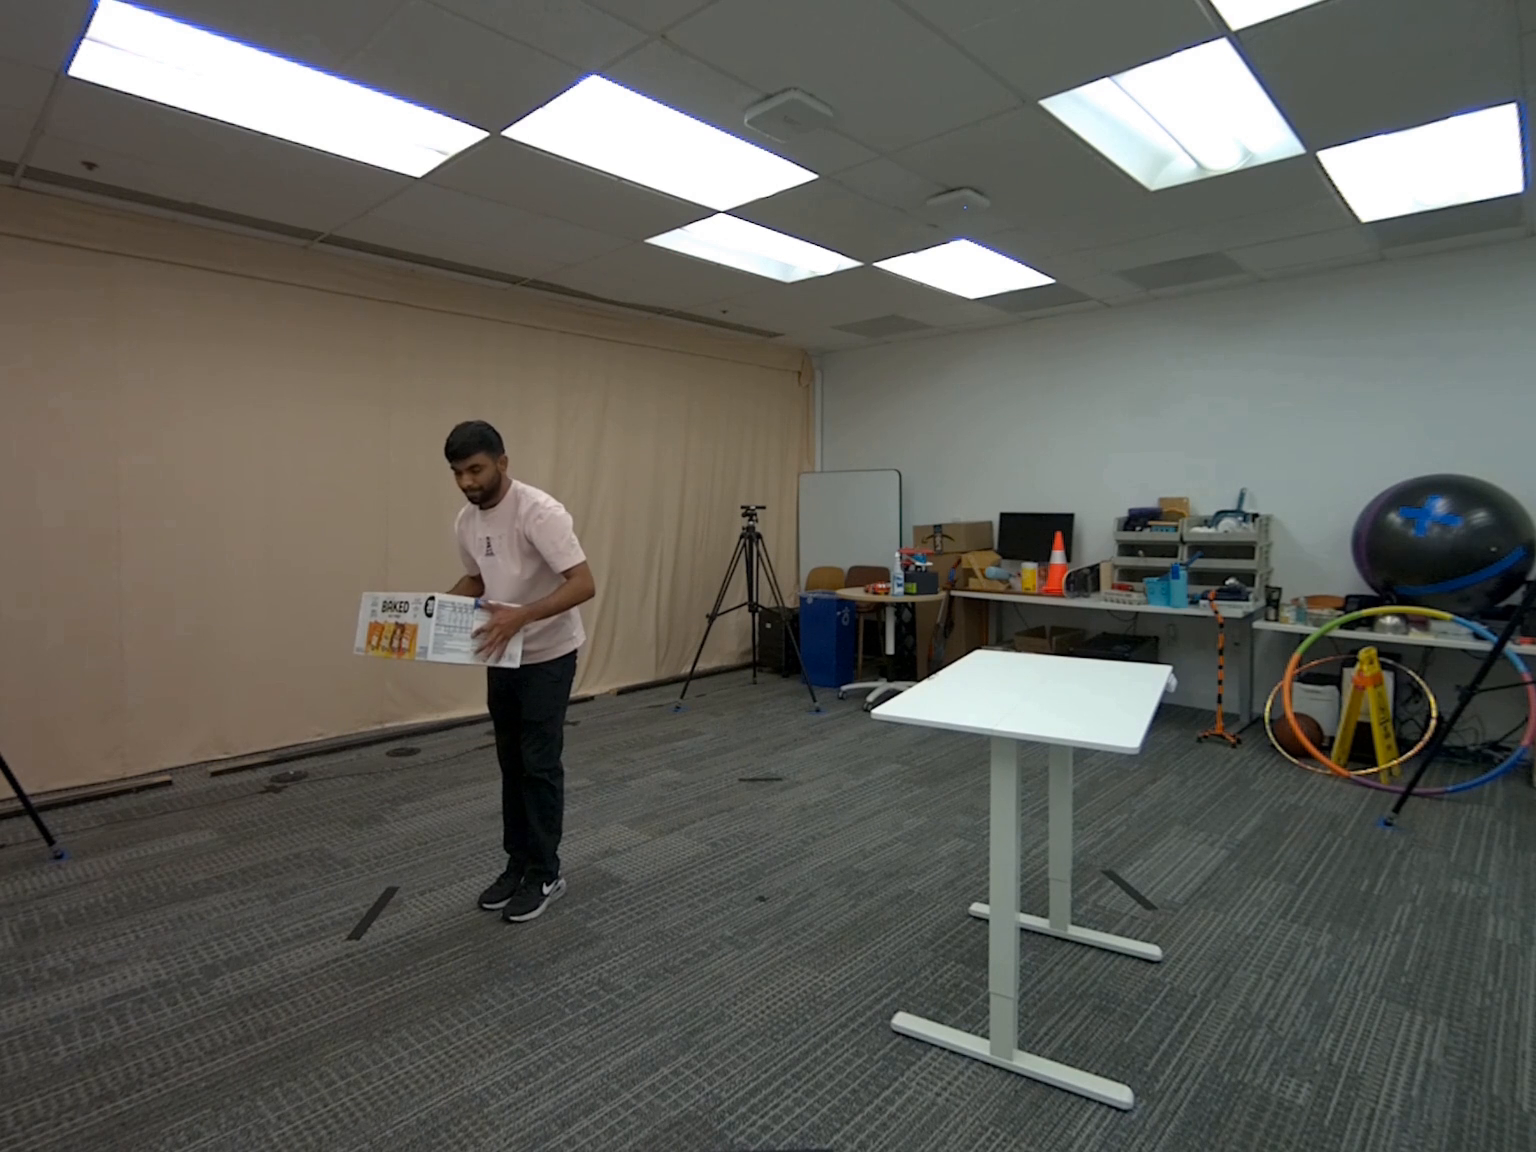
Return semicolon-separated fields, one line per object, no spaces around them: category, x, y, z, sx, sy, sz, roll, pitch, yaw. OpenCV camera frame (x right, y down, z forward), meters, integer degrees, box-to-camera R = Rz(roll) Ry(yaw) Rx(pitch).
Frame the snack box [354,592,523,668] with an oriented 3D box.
snack box;-1.043;0.176;2.696;0.418;0.206;0.328;0;-8;37
